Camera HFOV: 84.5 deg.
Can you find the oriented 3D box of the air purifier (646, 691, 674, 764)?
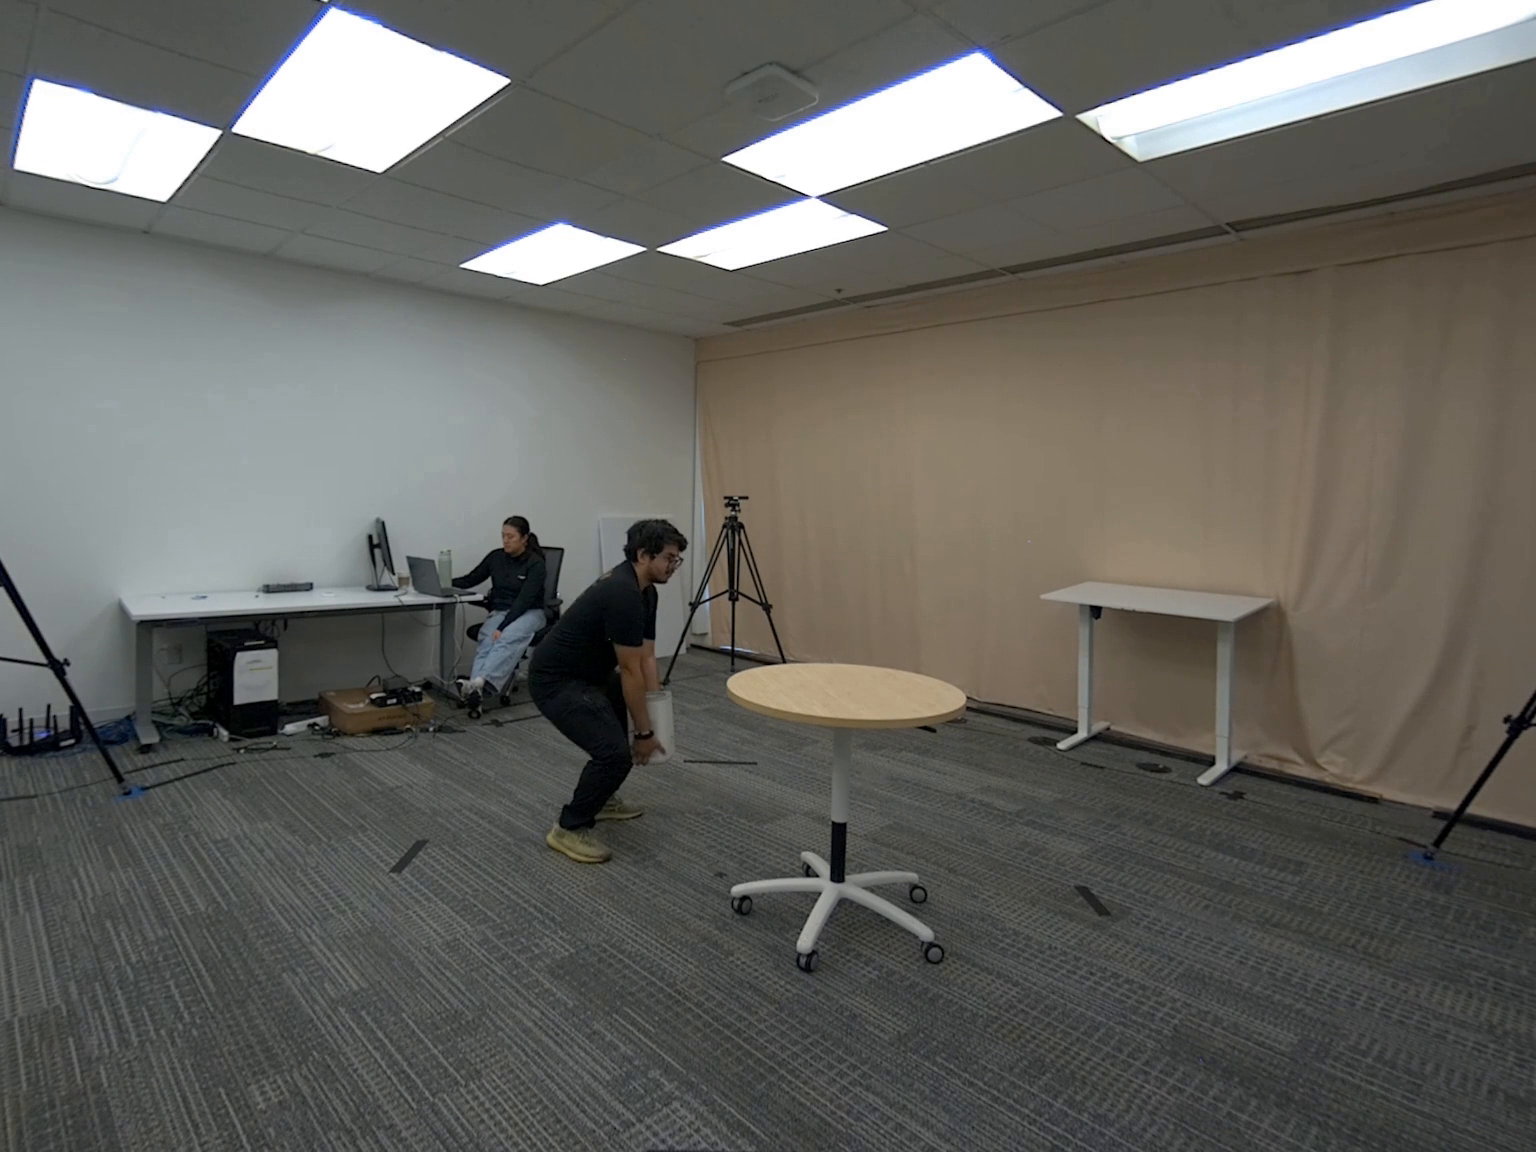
[{"bbox_3d":[-0.491,0.619,3.424,0.175,0.261,0.167,-3,3,10],"label":"air purifier"}]
